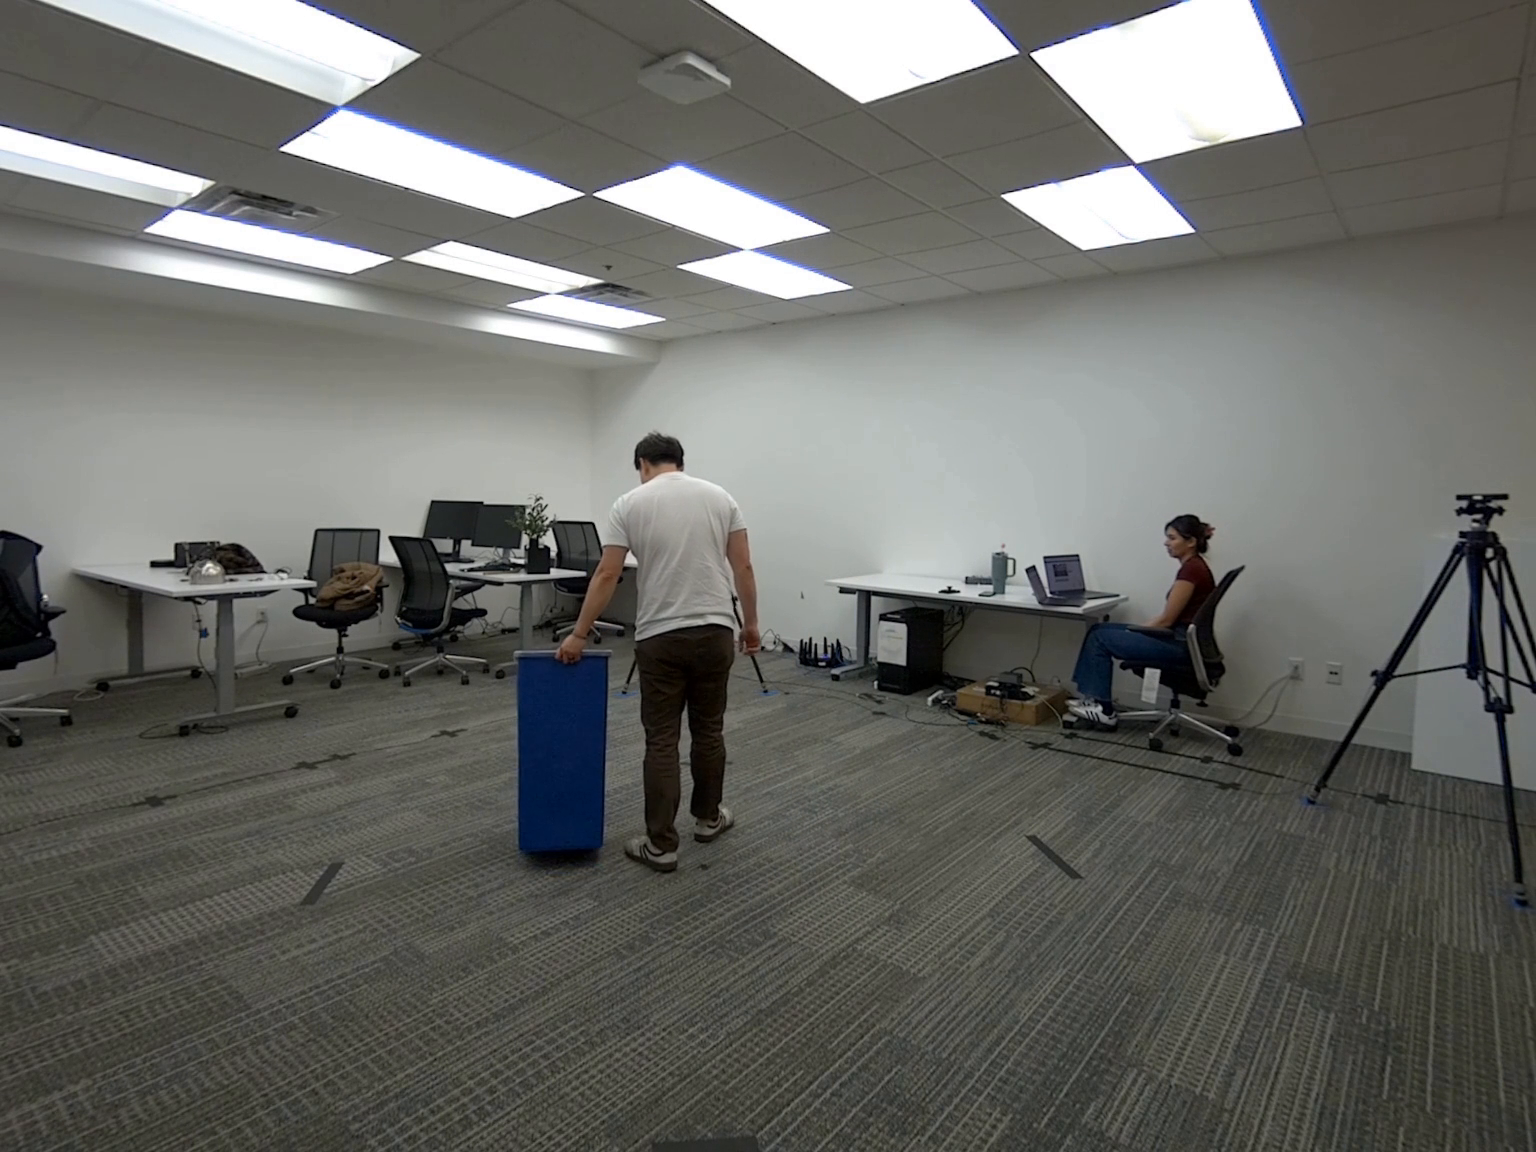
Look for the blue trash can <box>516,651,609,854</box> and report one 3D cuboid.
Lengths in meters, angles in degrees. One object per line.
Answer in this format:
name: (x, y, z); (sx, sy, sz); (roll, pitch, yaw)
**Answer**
blue trash can: (-0.815, 0.660, 3.288); (0.369, 0.722, 0.378); (1, -12, -12)
